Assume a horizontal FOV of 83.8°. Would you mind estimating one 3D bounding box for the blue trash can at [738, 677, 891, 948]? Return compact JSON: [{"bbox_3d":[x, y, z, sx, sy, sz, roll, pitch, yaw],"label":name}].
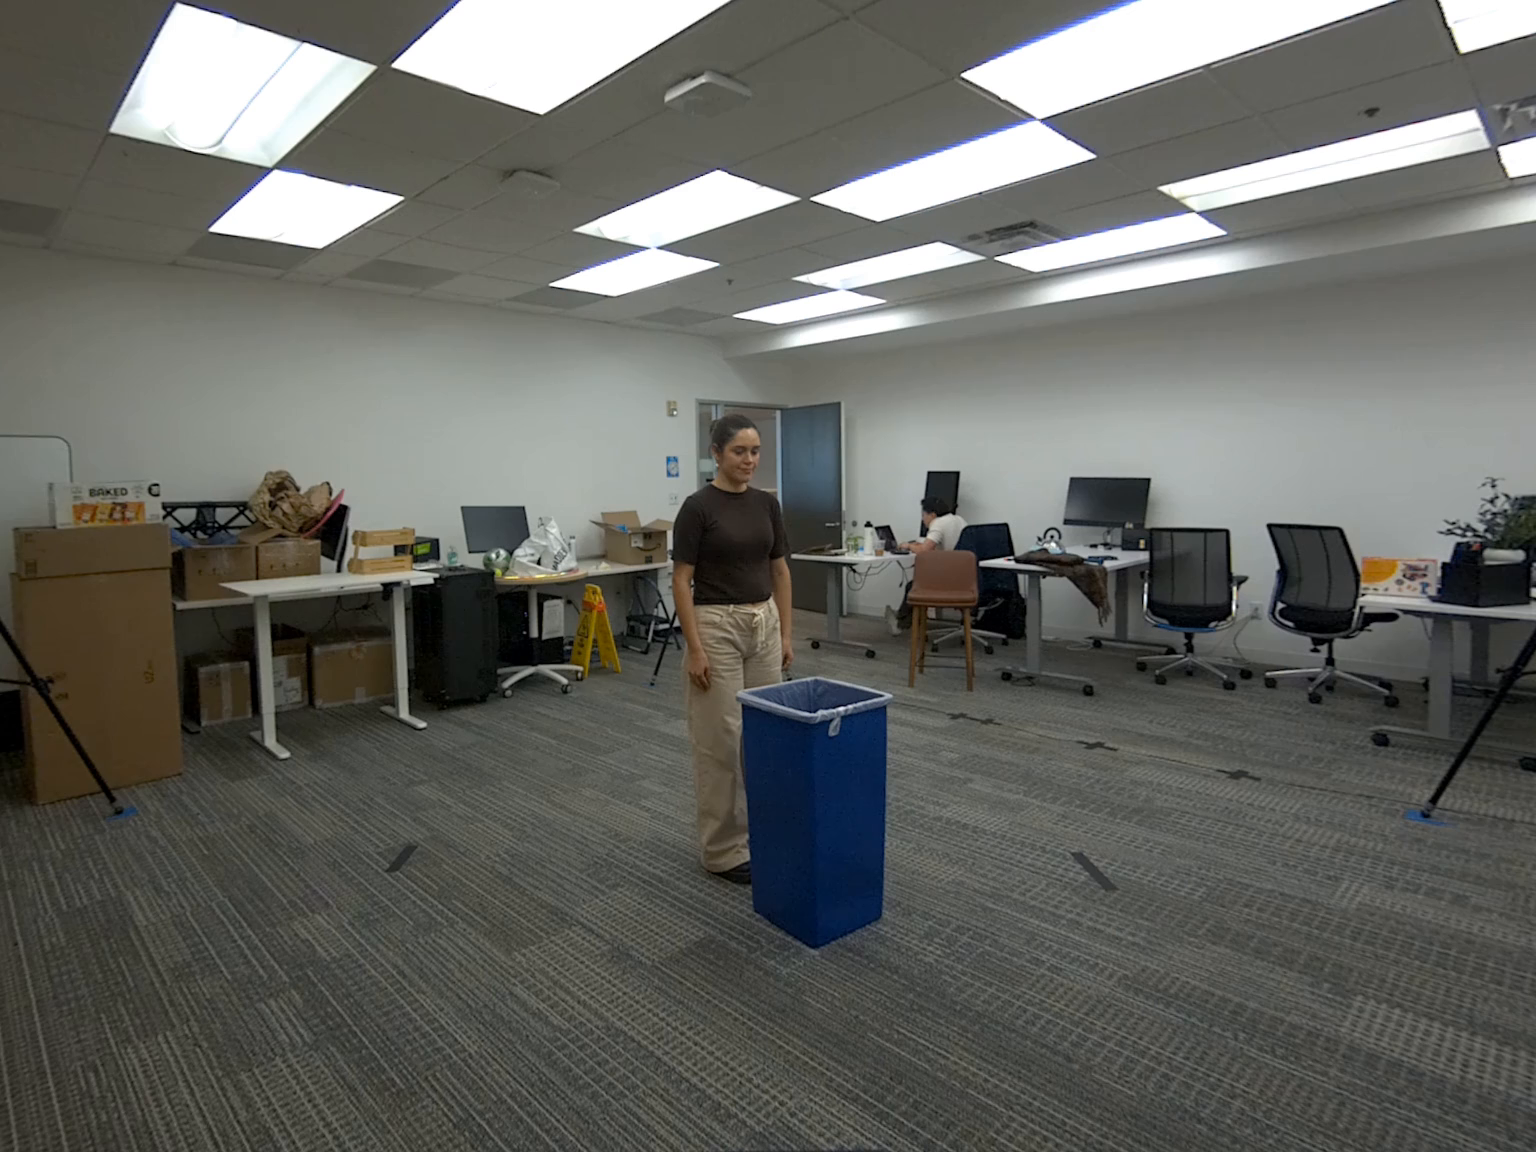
[{"bbox_3d":[0.153,0.729,2.714,0.368,0.711,0.385,-4,5,-39],"label":"blue trash can"}]
